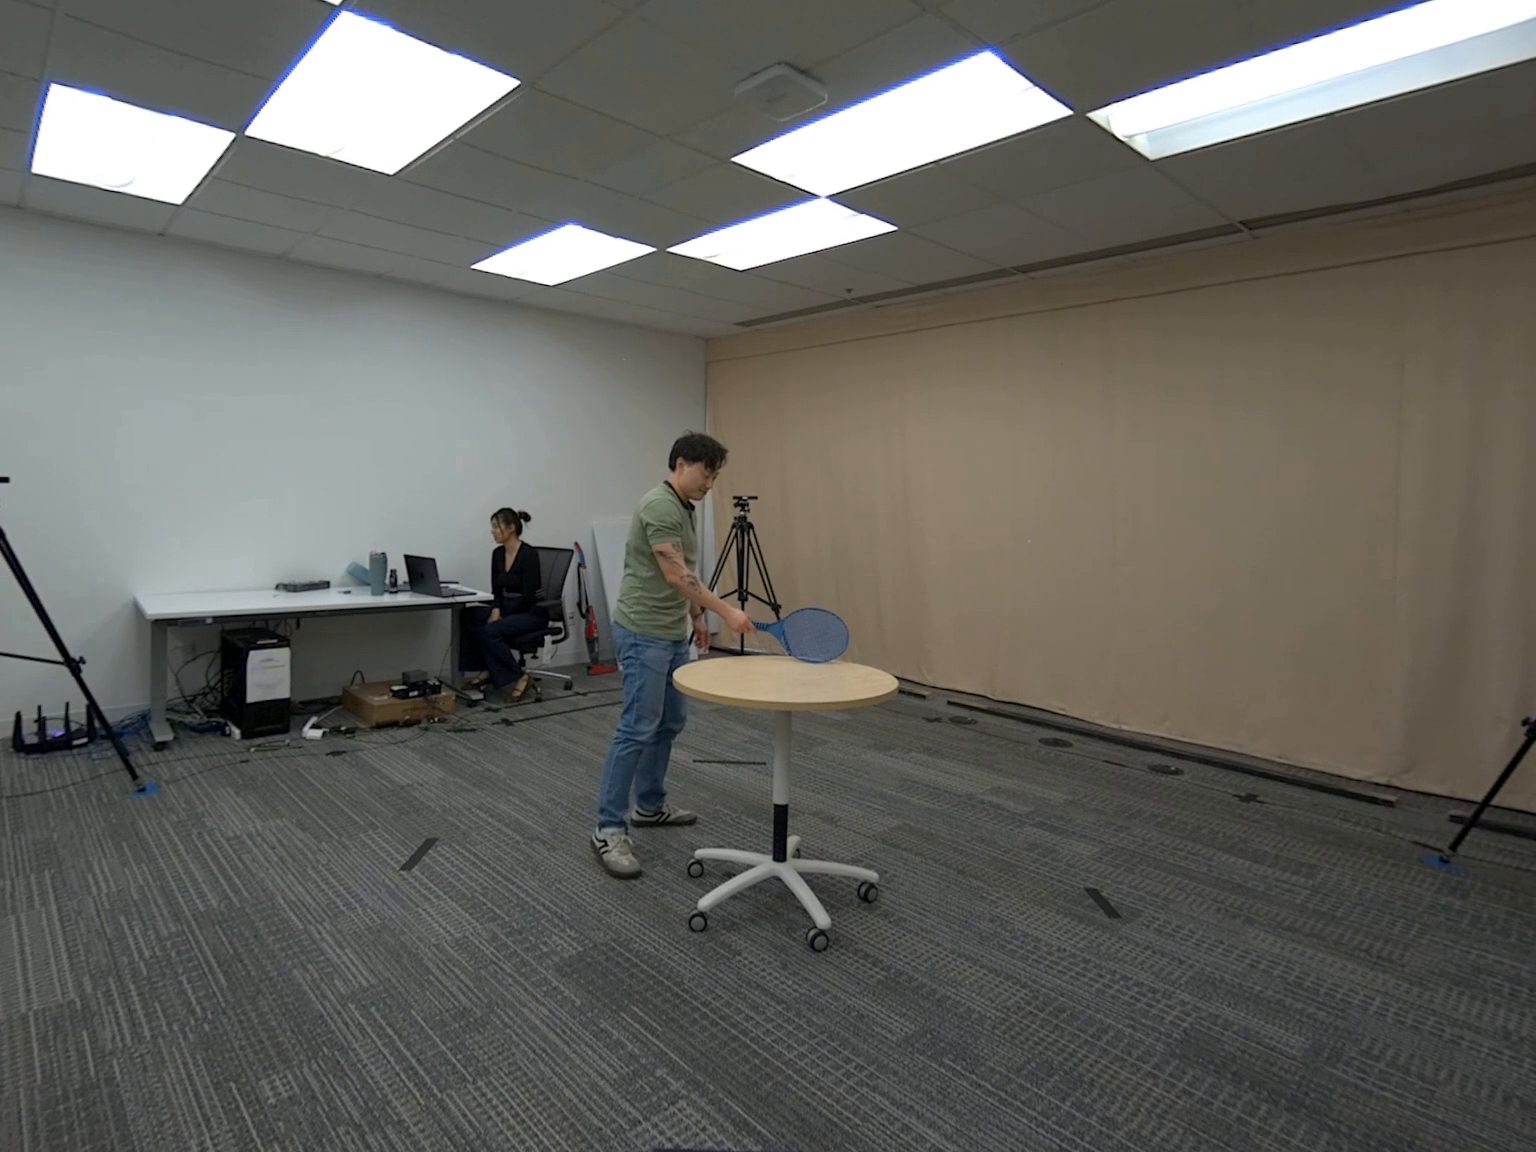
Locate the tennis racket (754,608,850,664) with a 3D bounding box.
[{"bbox_3d":[0.072,0.212,3.173,0.436,0.216,0.031,10,-21,9],"label":"tennis racket"}]
